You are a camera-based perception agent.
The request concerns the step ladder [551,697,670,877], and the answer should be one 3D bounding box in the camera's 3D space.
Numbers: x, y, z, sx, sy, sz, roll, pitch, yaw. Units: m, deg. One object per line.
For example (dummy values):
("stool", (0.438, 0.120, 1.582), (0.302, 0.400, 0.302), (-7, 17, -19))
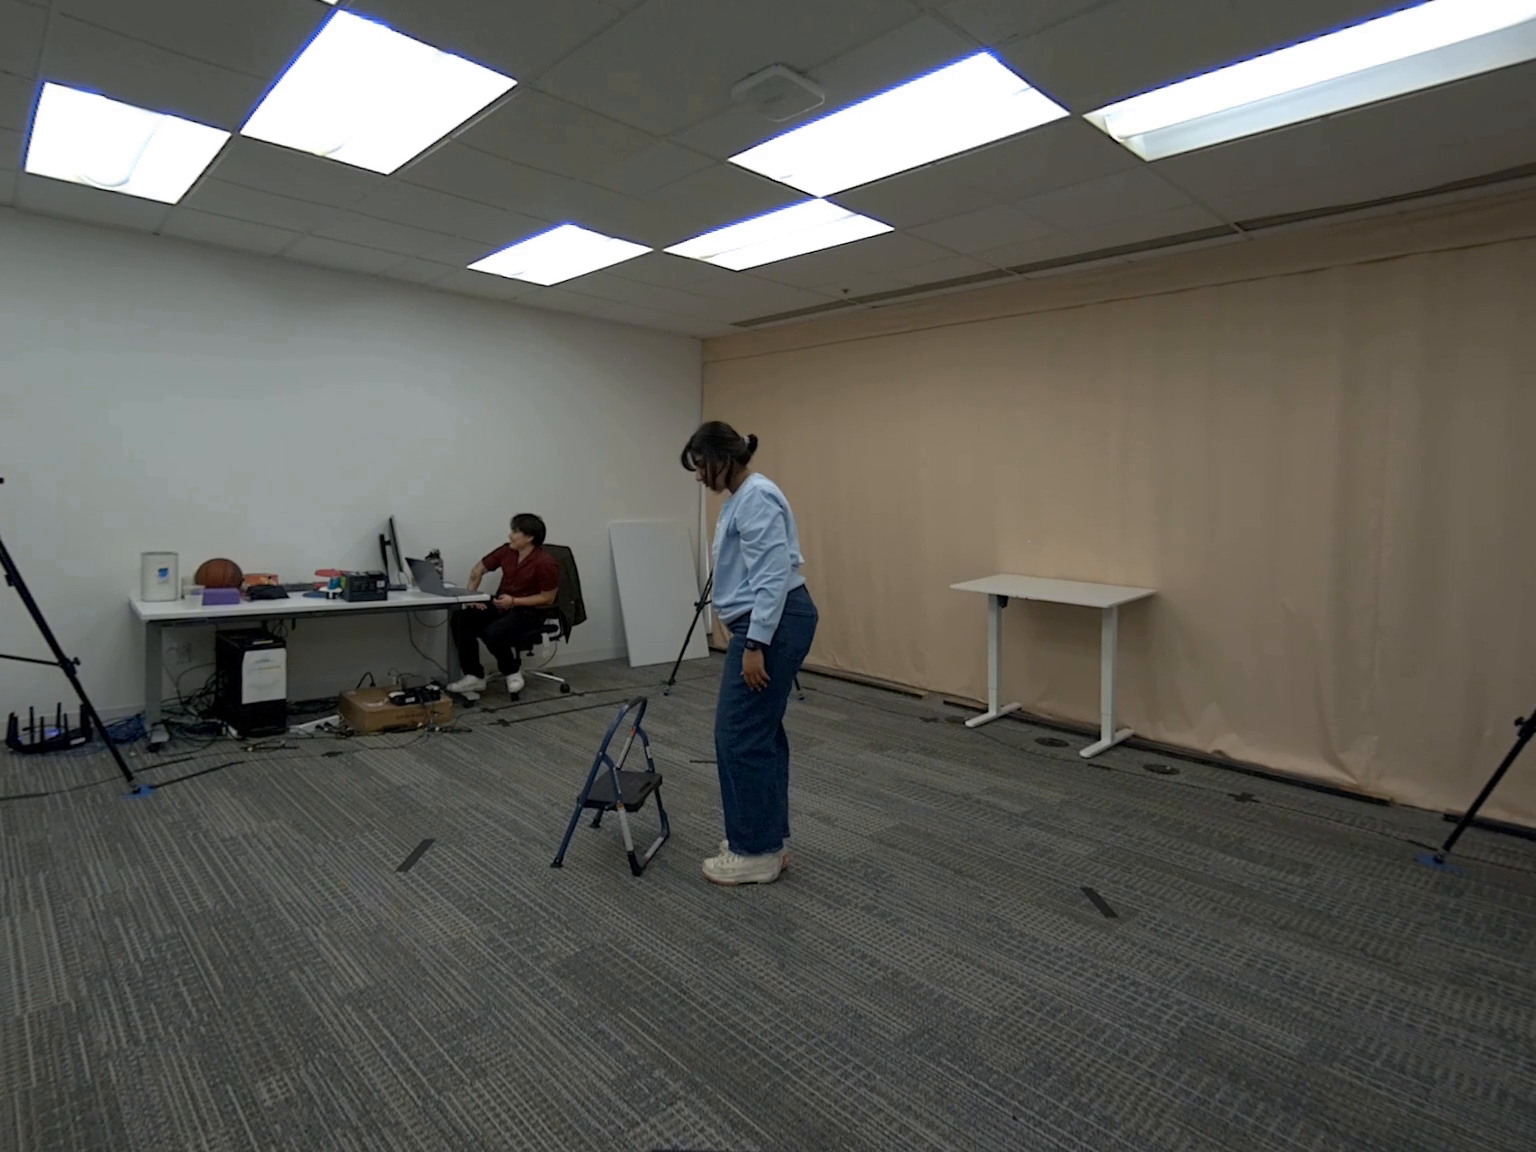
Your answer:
("step ladder", (-0.606, 0.775, 3.293), (0.352, 0.604, 0.428), (2, 4, 11))
